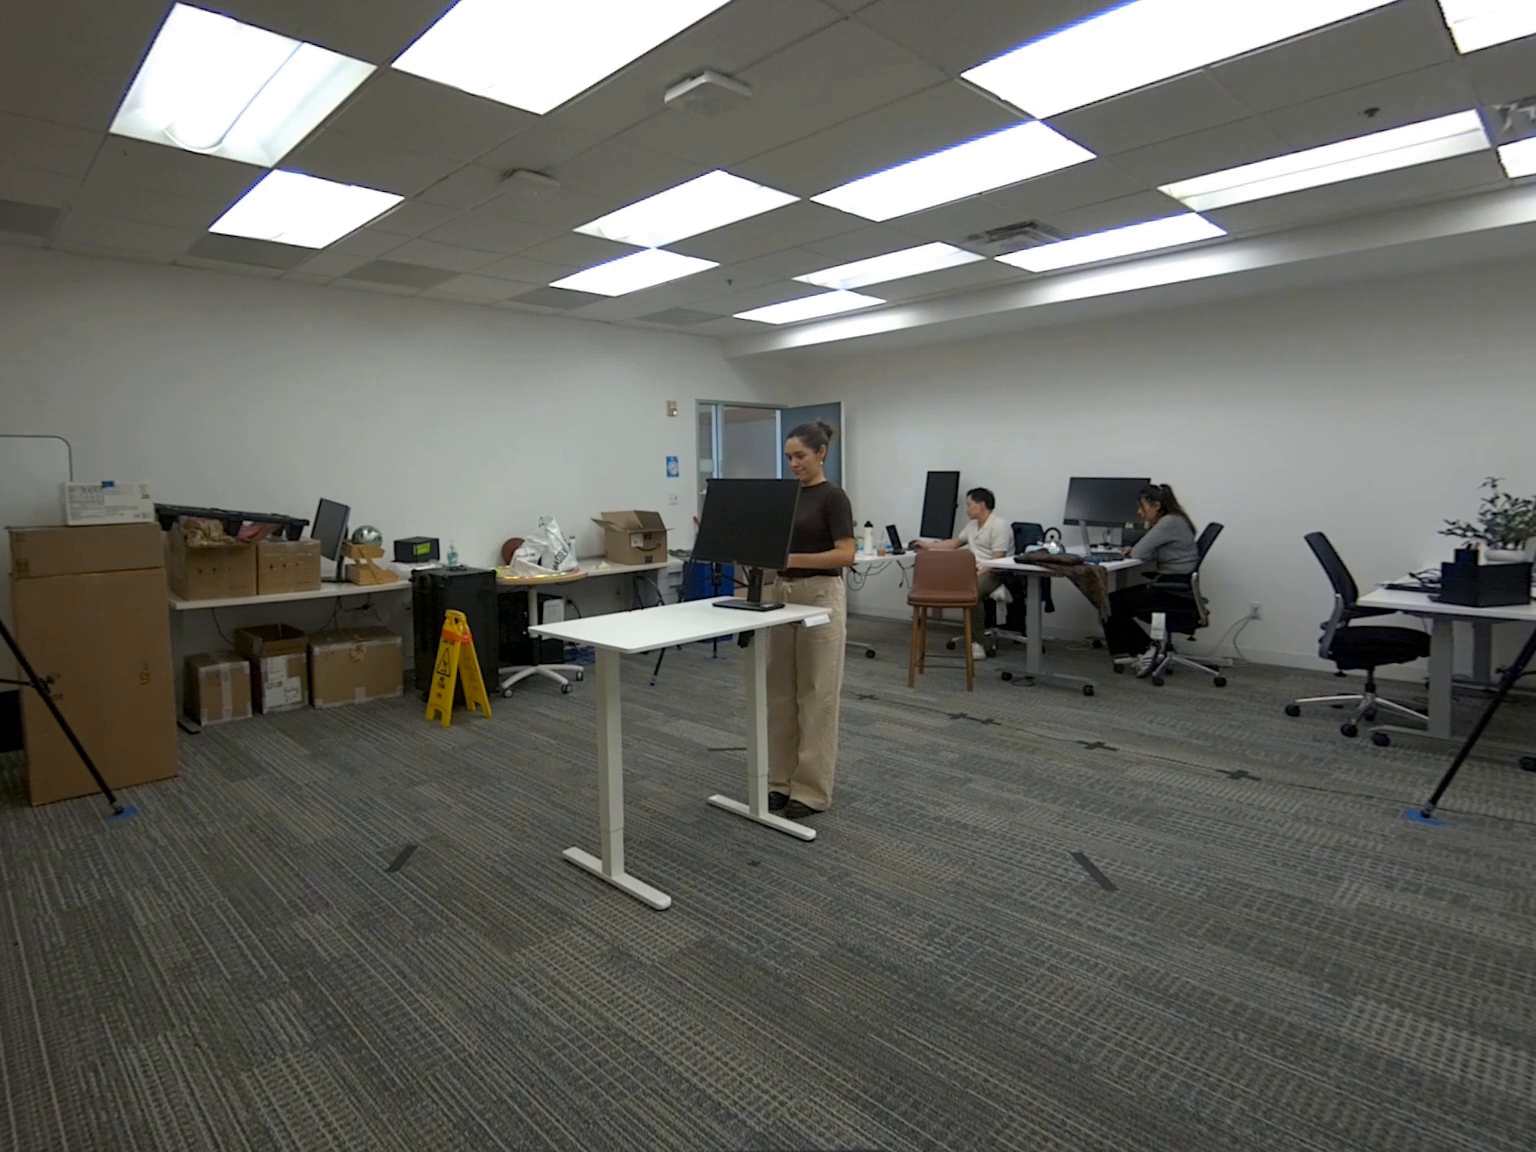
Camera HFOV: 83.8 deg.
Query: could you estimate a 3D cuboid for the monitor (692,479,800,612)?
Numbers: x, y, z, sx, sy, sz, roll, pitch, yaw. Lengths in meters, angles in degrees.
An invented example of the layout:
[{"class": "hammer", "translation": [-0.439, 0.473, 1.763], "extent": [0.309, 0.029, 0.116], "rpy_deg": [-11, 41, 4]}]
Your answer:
[{"class": "monitor", "translation": [-0.073, -0.129, 3.432], "extent": [0.556, 0.521, 0.182], "rpy_deg": [5, 5, 45]}]
